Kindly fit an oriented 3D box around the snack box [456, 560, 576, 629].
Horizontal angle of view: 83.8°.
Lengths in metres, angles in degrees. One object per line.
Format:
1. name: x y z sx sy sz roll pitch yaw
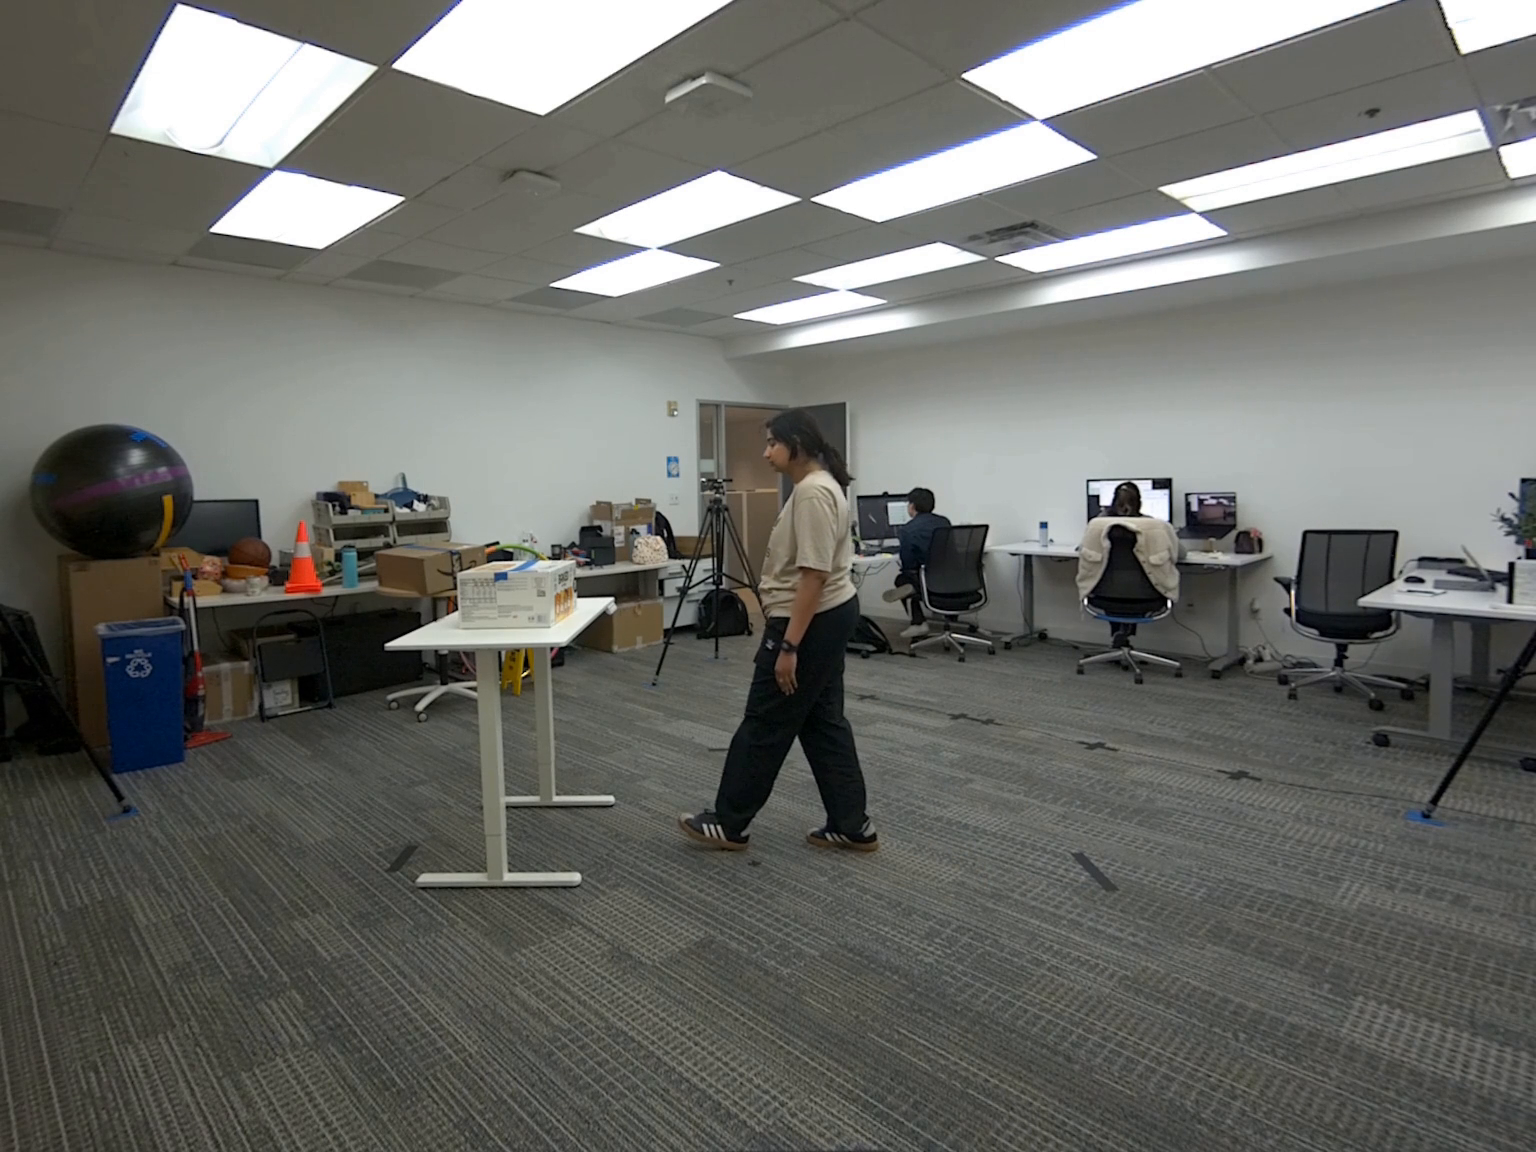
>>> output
1. snack box: -0.936 0.064 3.249 0.341 0.204 0.406 -2 6 2
